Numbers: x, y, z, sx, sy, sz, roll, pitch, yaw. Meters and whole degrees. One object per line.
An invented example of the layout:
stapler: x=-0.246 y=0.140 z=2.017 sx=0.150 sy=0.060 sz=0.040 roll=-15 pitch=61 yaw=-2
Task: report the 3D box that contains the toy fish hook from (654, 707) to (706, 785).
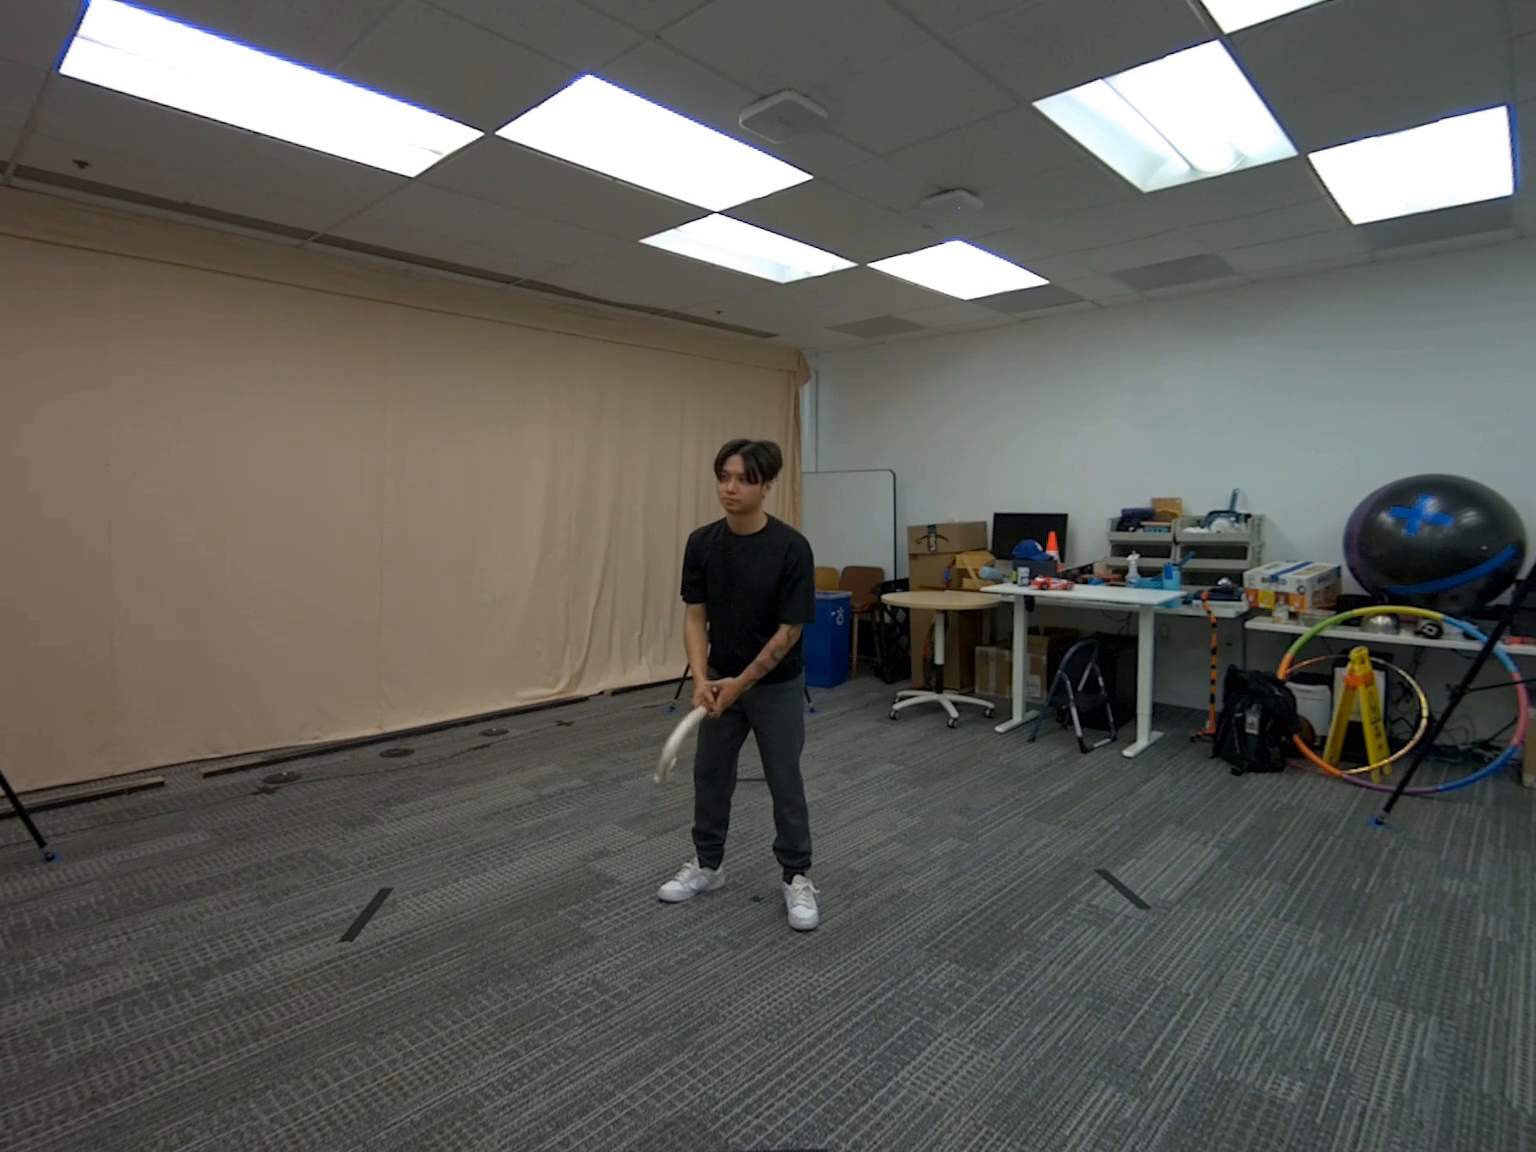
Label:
toy fish hook: x=-0.260 y=0.487 z=2.699 sx=0.049 sy=0.224 sz=0.503 roll=29 pitch=22 yaw=5
